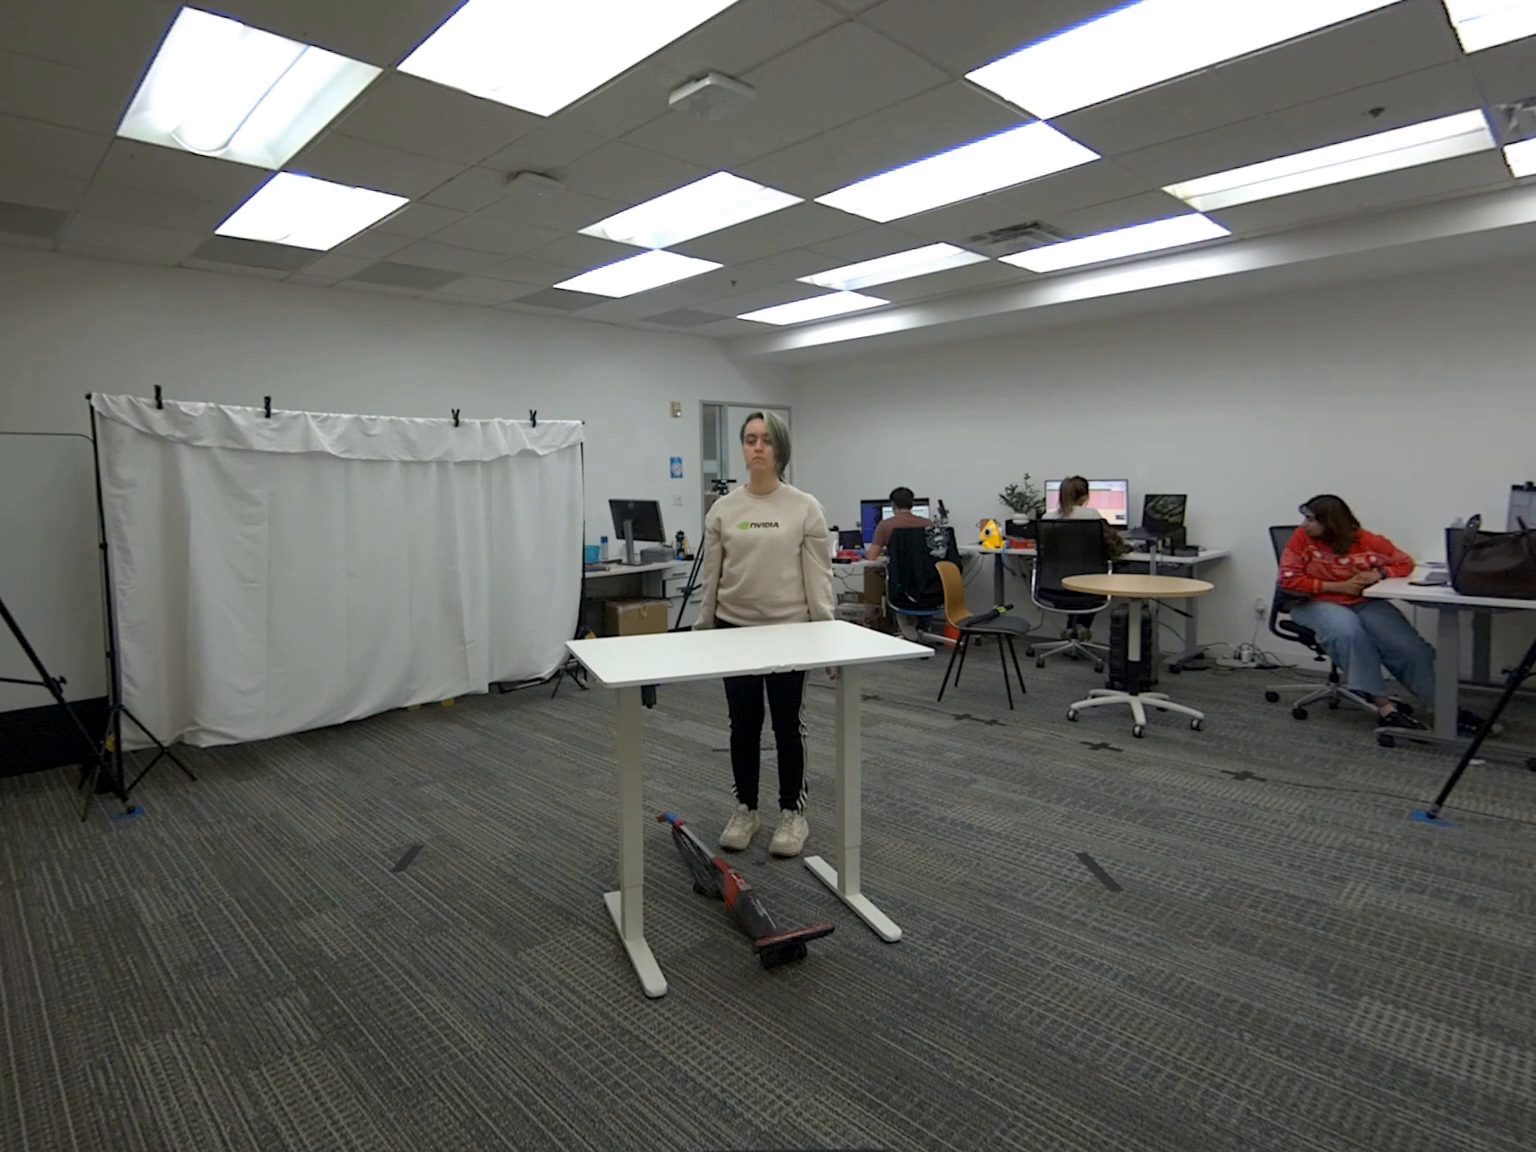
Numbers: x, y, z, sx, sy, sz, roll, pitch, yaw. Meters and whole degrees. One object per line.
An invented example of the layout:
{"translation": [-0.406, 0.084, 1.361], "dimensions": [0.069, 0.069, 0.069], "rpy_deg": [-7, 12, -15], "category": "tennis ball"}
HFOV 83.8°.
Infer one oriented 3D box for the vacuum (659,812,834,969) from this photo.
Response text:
{"translation": [-0.189, 1.016, 2.907], "dimensions": [0.247, 0.143, 1.076], "rpy_deg": [-5, 7, -26], "category": "vacuum"}
